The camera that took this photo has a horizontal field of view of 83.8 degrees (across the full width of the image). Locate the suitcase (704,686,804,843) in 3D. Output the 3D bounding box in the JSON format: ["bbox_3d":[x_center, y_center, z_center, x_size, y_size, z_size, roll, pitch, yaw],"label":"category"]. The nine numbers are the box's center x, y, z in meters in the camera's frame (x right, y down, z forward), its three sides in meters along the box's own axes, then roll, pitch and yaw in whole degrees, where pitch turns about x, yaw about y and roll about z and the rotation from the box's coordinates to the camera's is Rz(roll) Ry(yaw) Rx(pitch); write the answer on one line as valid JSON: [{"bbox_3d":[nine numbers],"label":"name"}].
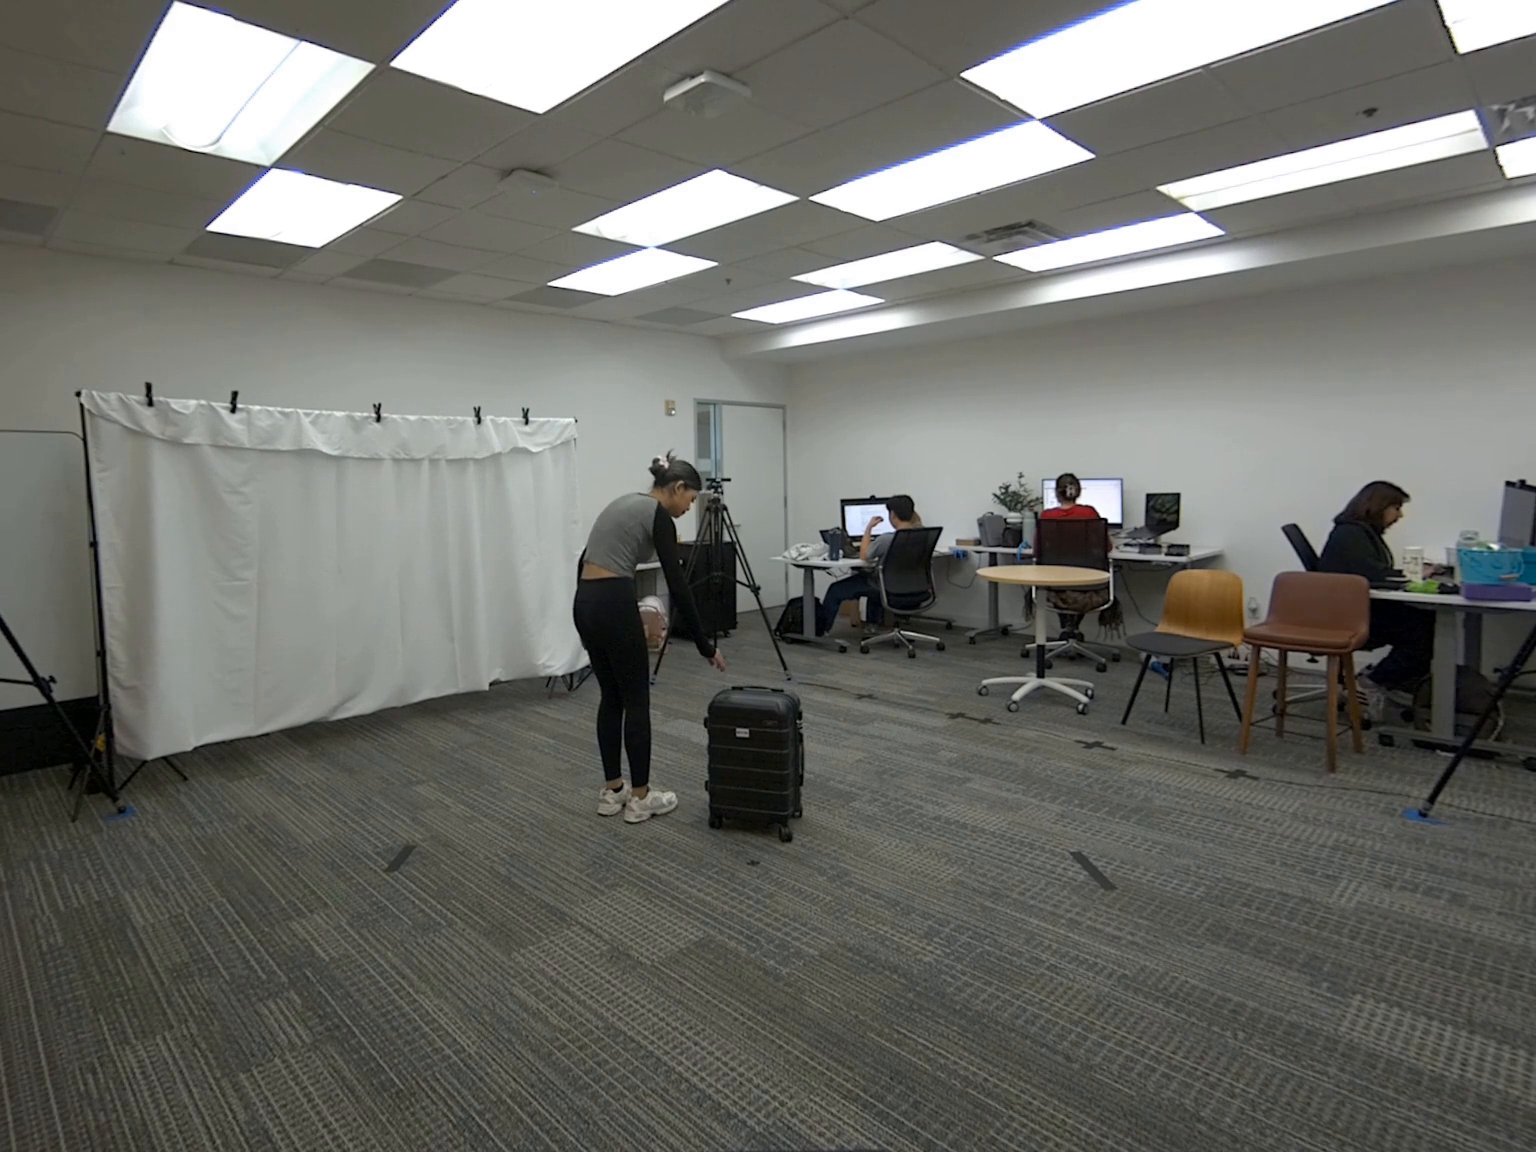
[{"bbox_3d":[-0.048,0.729,3.438,0.382,0.547,0.245,1,6,19],"label":"suitcase"}]
